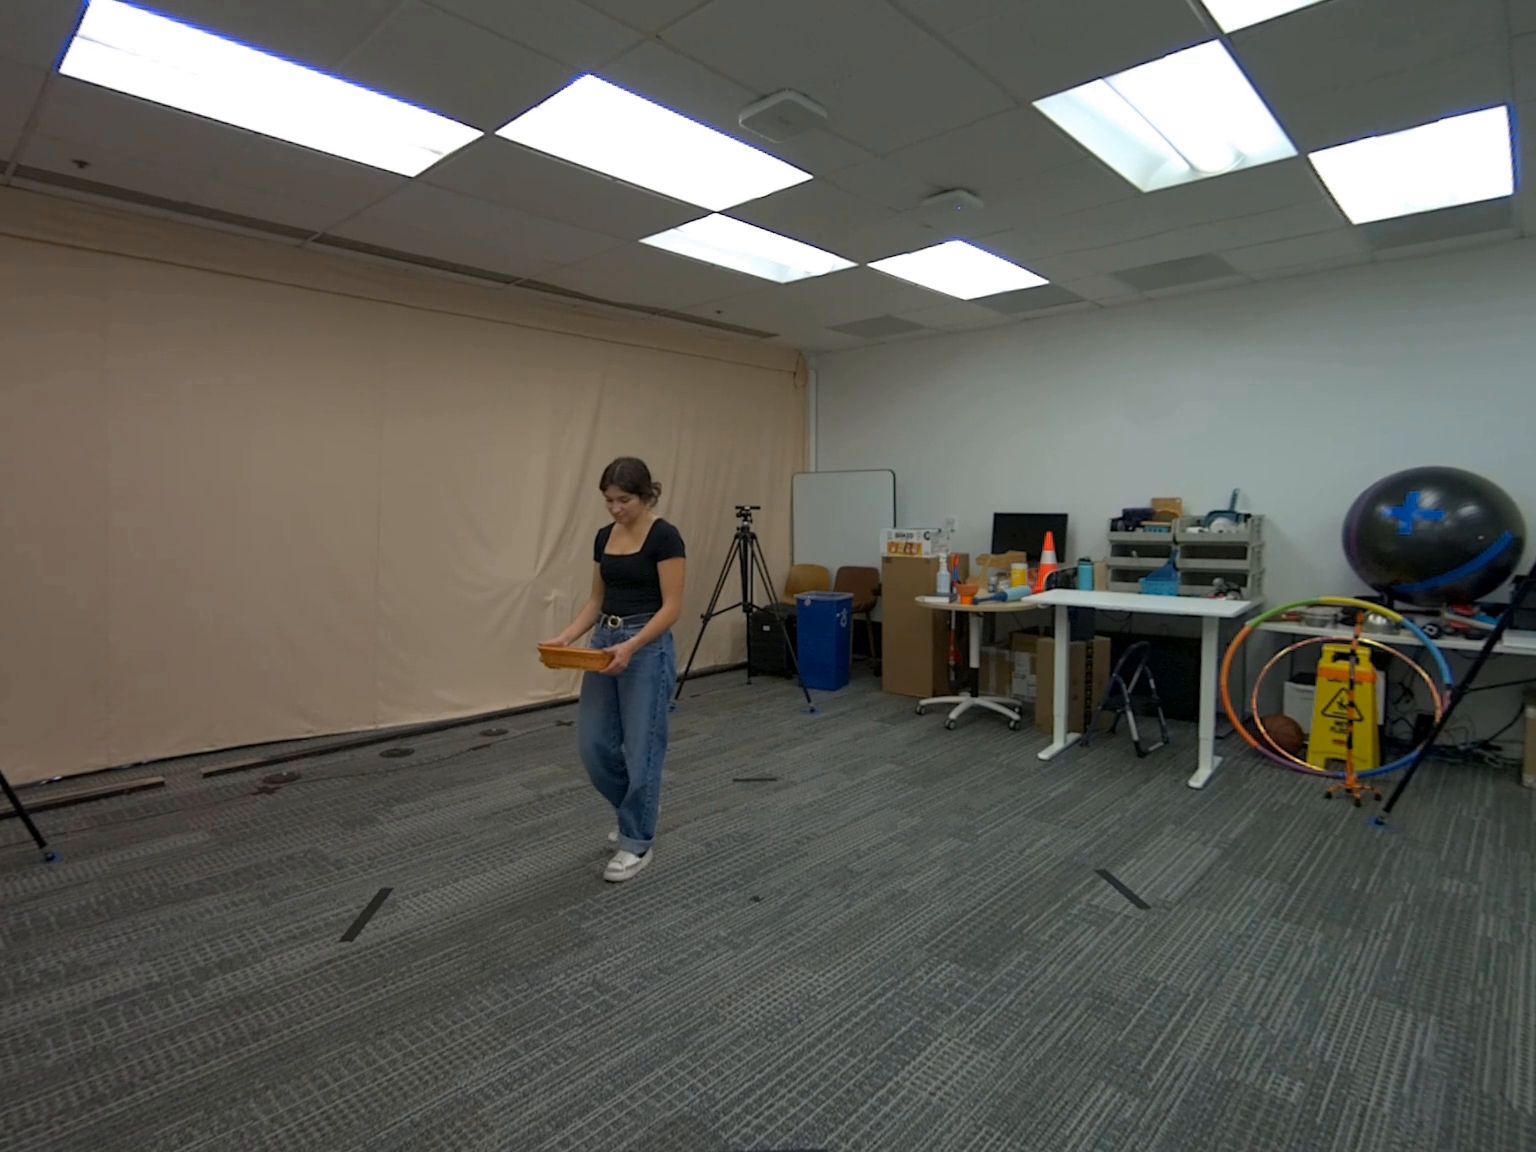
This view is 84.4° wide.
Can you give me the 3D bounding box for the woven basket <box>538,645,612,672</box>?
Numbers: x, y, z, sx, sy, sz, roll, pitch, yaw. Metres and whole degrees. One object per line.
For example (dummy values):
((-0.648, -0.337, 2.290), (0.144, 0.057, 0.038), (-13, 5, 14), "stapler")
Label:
((-0.684, 0.299, 3.070), (0.361, 0.073, 0.244), (1, -4, 37), "woven basket")
